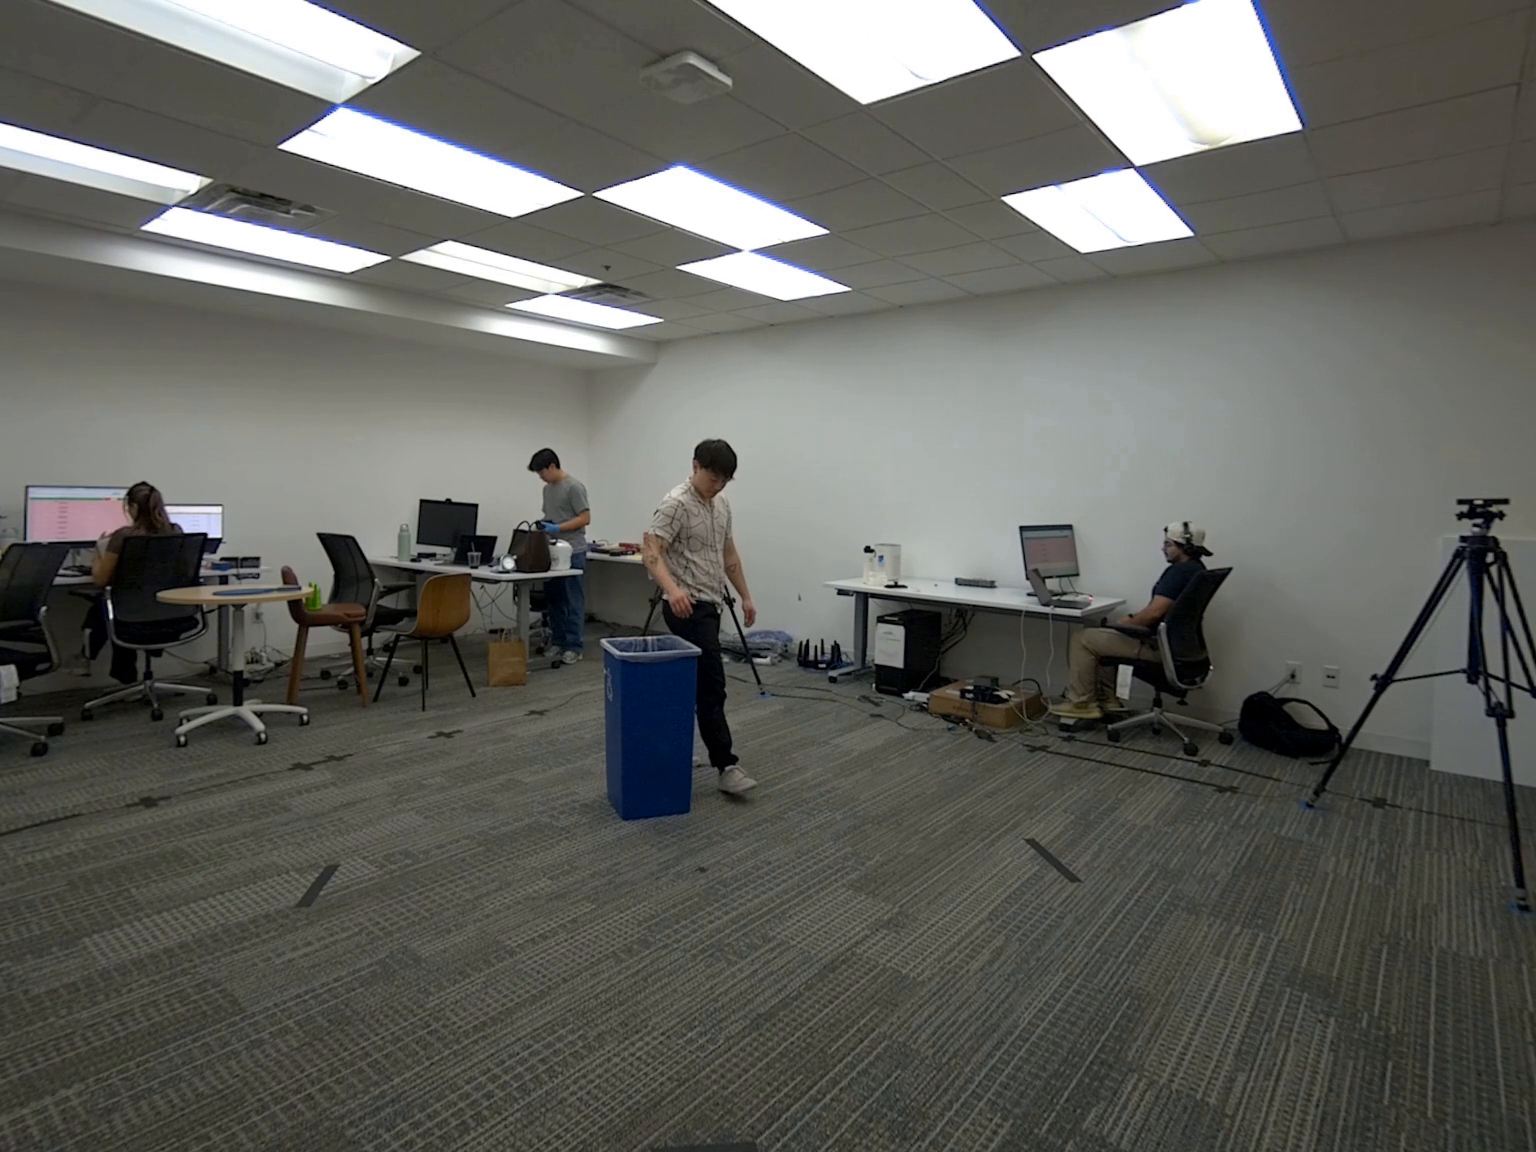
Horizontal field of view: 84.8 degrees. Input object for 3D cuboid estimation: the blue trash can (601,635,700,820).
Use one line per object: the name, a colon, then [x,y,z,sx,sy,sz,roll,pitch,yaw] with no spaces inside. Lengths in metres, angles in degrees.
blue trash can: [-0.531,0.648,3.718,0.370,0.711,0.383,-1,4,-23]
